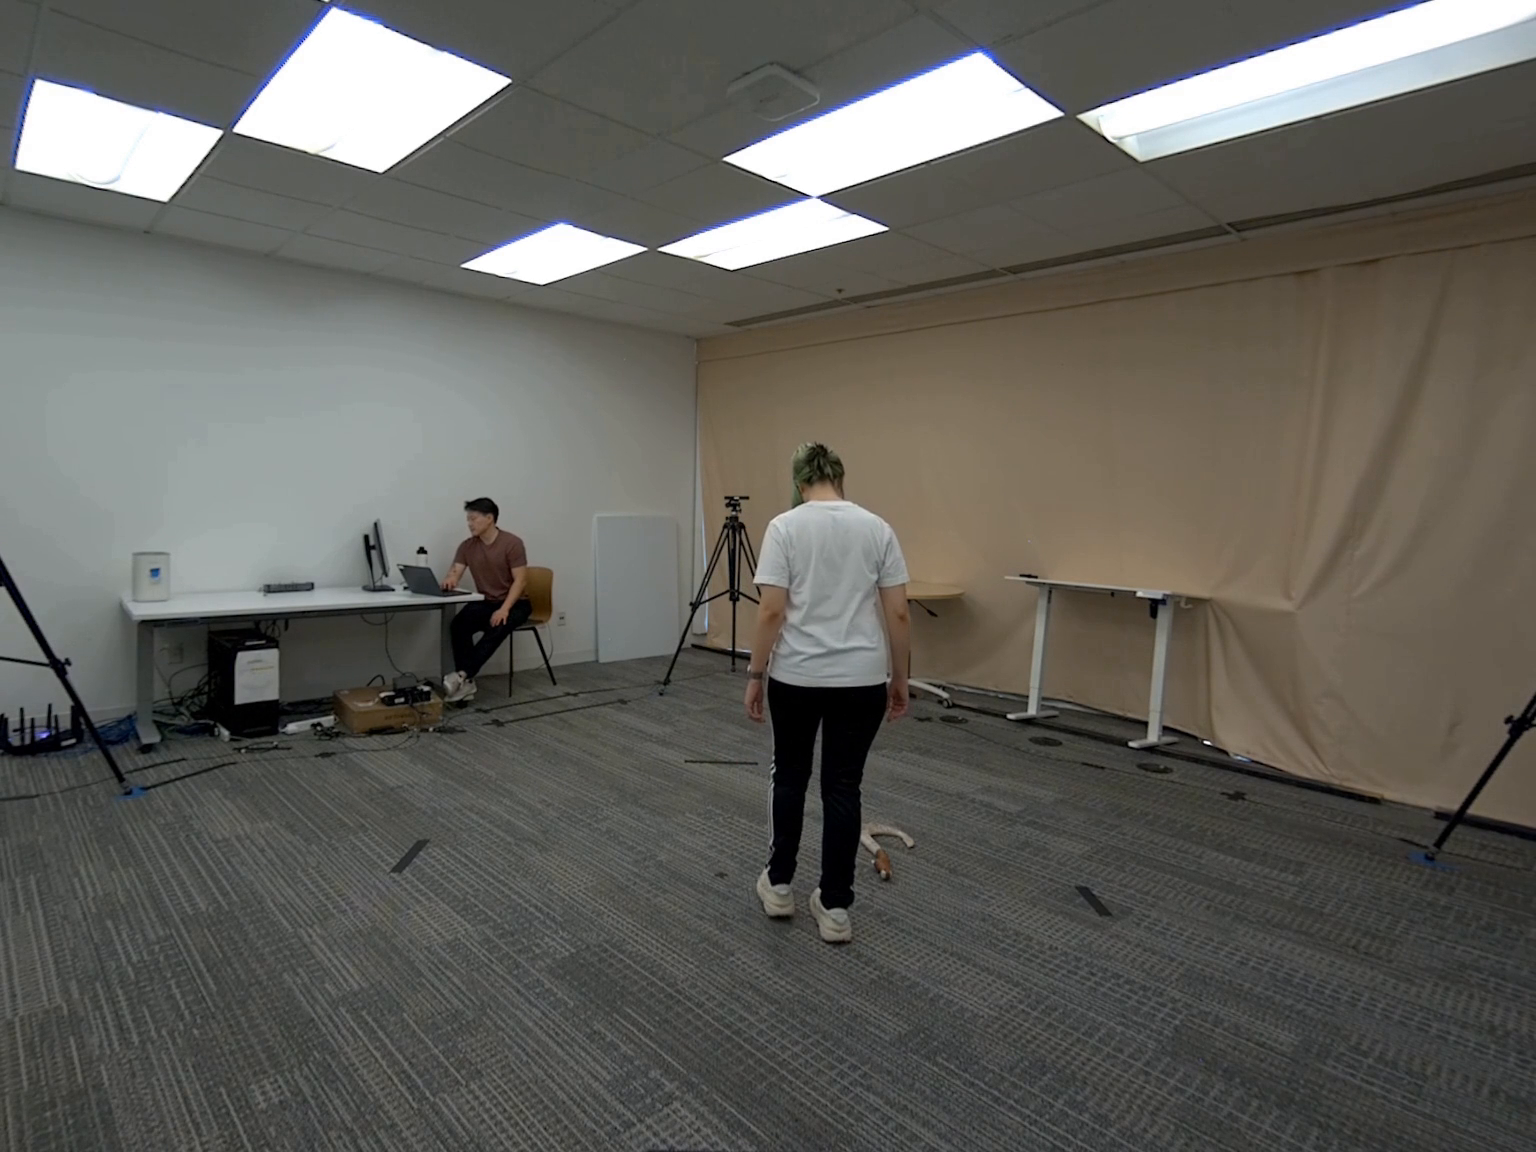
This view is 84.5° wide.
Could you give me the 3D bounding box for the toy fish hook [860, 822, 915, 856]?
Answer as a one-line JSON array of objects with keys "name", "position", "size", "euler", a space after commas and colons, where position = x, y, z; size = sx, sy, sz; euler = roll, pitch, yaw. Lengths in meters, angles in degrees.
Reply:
[{"name": "toy fish hook", "position": [0.473, 1.076, 3.317], "size": [0.225, 0.048, 0.508], "euler": [1, 5, 0]}]
